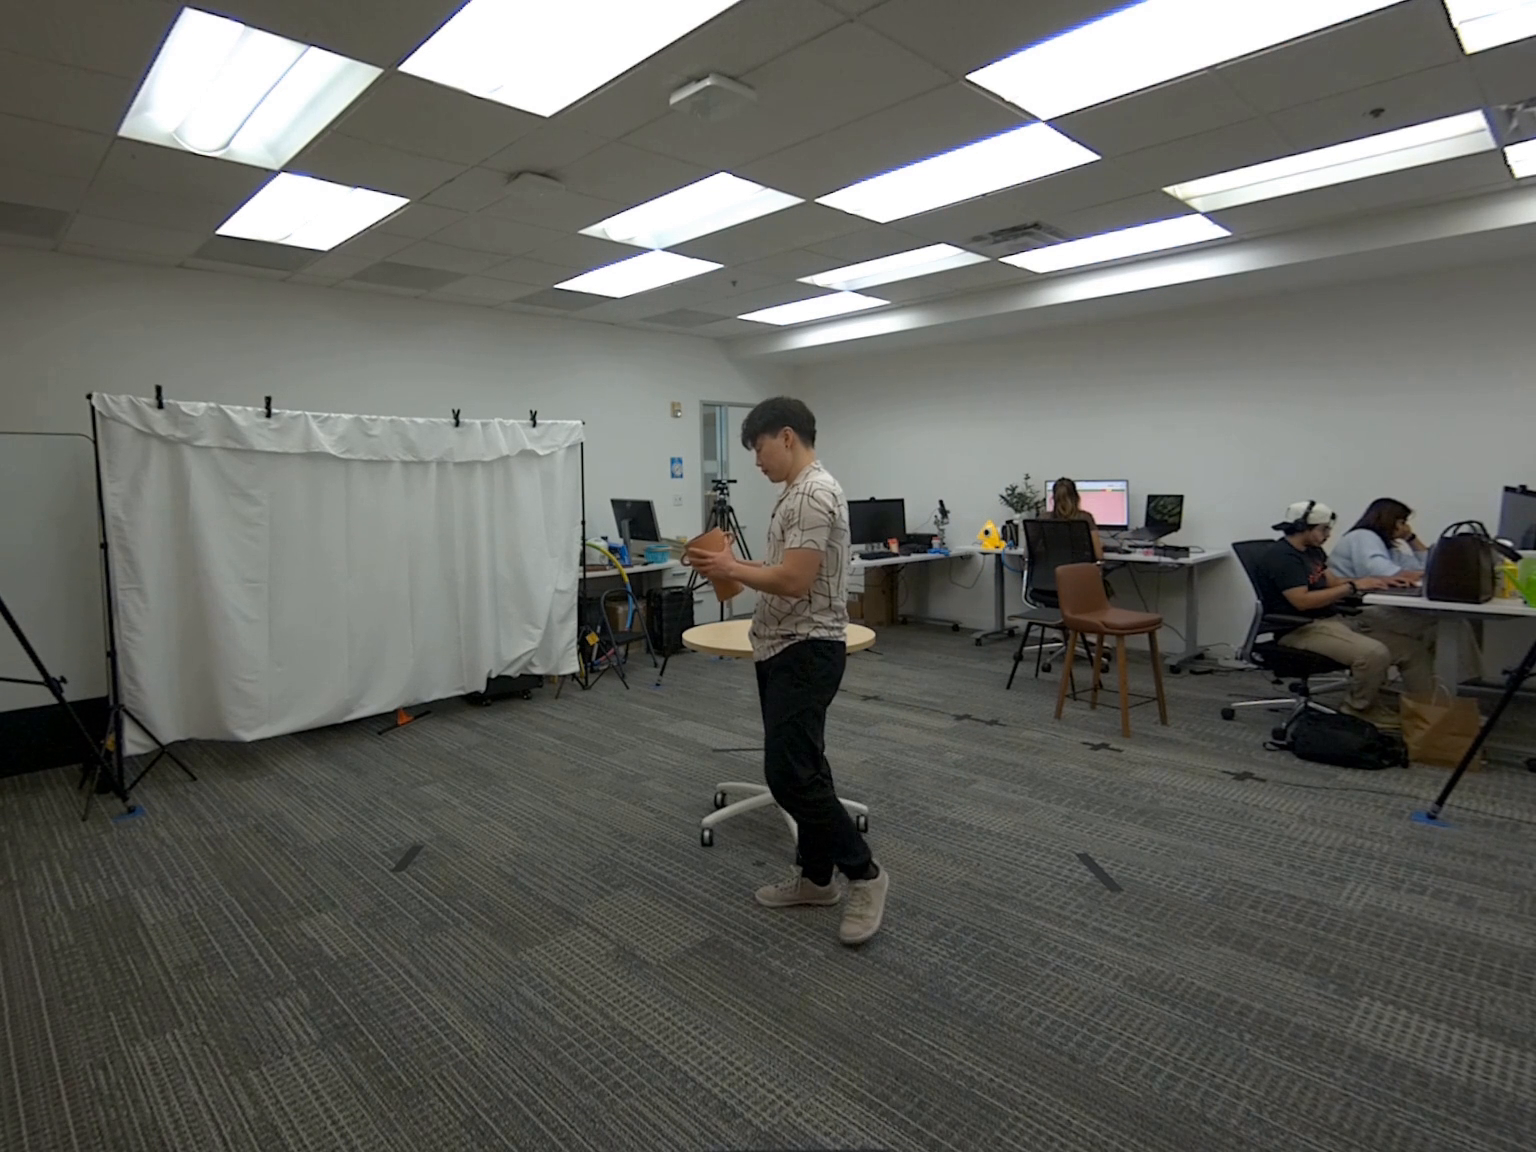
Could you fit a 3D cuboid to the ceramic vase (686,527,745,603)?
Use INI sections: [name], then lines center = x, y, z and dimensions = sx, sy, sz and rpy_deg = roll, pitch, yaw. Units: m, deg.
[ceramic vase]
center = -0.159, -0.031, 2.761
dimensions = 0.133, 0.219, 0.161
rpy_deg = -30, 4, -43
